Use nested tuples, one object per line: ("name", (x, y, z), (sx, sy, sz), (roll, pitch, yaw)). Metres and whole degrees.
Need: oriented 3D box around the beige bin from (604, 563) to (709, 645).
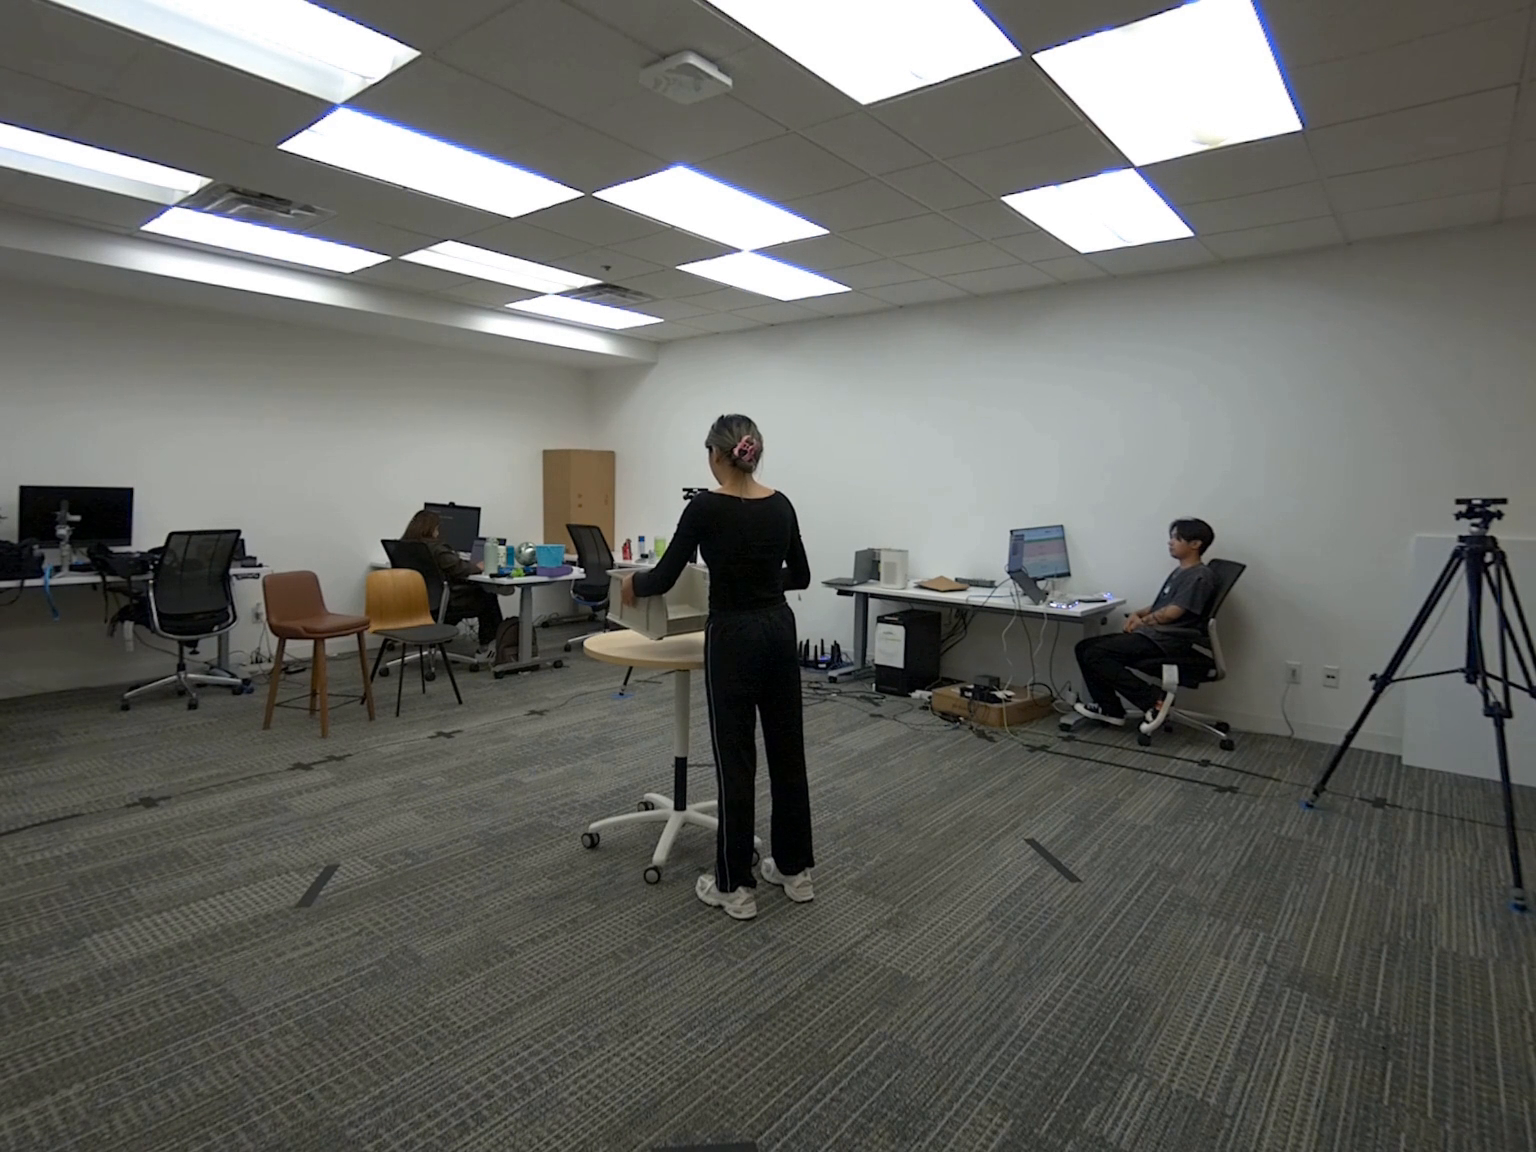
("beige bin", (-0.336, 0.091, 3.171), (0.410, 0.187, 0.391), (-7, 13, -41))
